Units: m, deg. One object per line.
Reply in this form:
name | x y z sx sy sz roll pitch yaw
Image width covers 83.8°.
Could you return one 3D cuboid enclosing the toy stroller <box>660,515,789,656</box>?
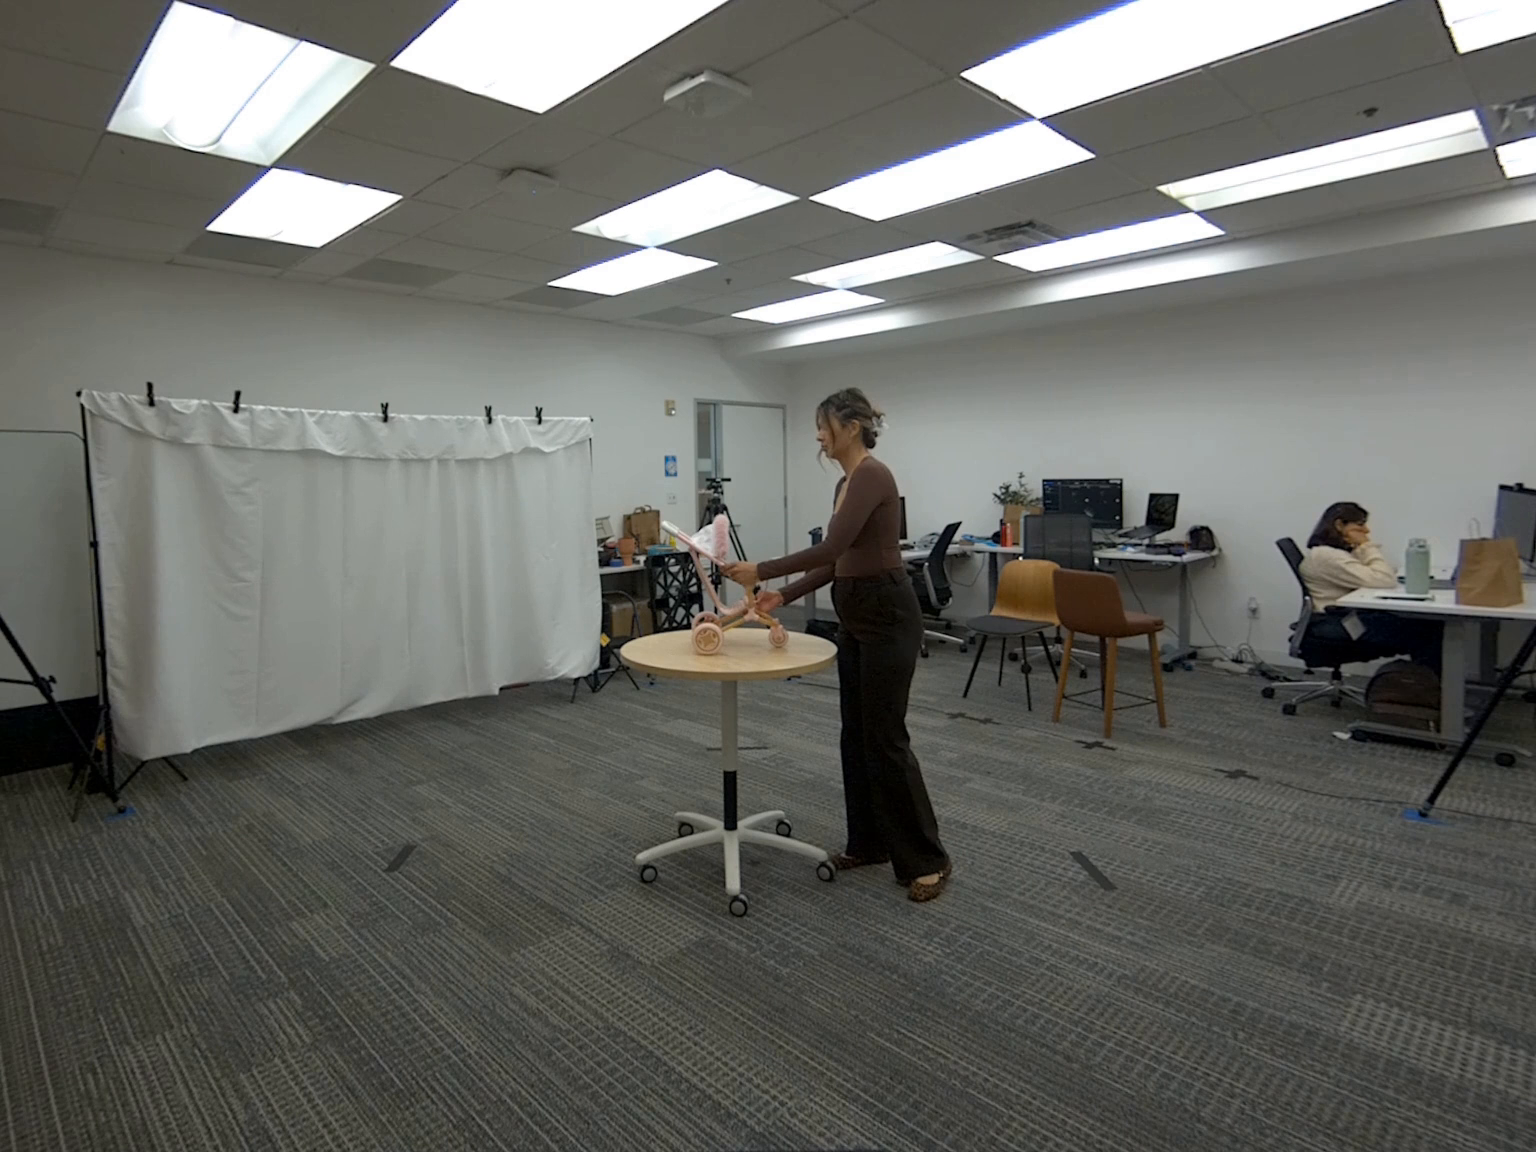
toy stroller | -0.139 0.026 3.014 0.342 0.533 0.282 -14 3 2
